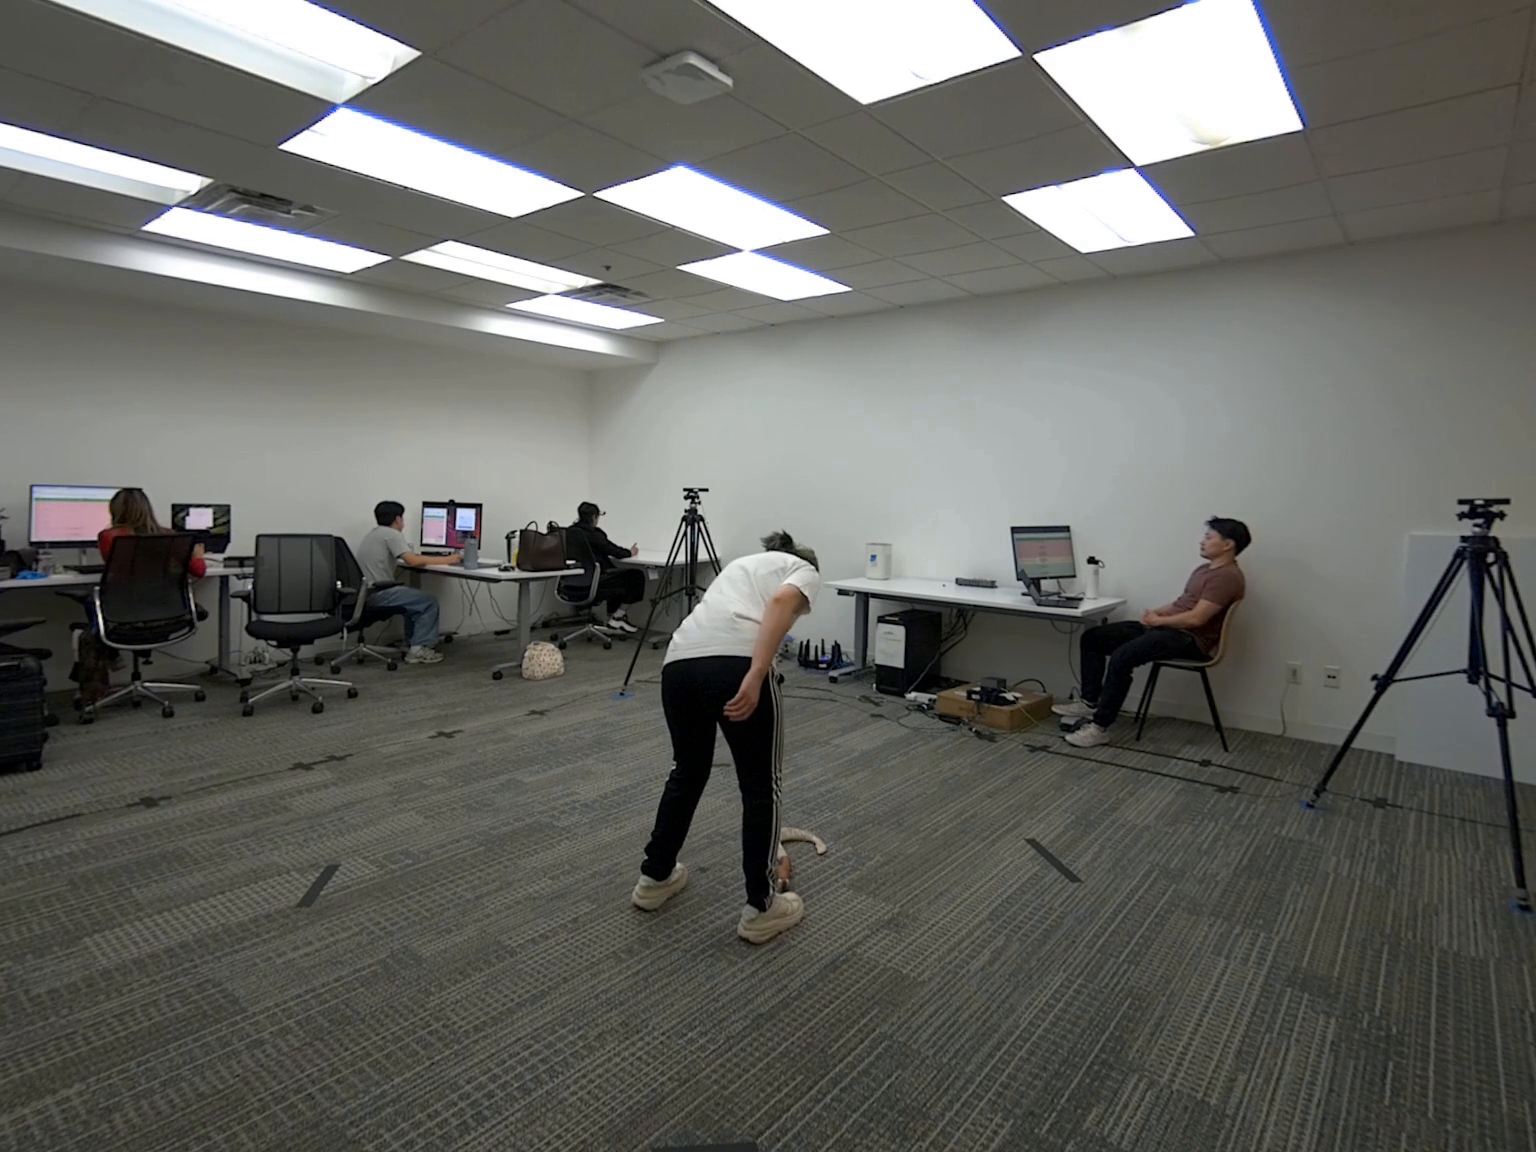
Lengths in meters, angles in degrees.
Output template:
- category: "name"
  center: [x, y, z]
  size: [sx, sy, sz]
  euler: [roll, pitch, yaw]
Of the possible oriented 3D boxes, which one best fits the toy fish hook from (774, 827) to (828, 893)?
- category: "toy fish hook"
  center: [0.106, 1.049, 3.188]
  size: [0.225, 0.048, 0.507]
  euler: [0, 6, 2]
